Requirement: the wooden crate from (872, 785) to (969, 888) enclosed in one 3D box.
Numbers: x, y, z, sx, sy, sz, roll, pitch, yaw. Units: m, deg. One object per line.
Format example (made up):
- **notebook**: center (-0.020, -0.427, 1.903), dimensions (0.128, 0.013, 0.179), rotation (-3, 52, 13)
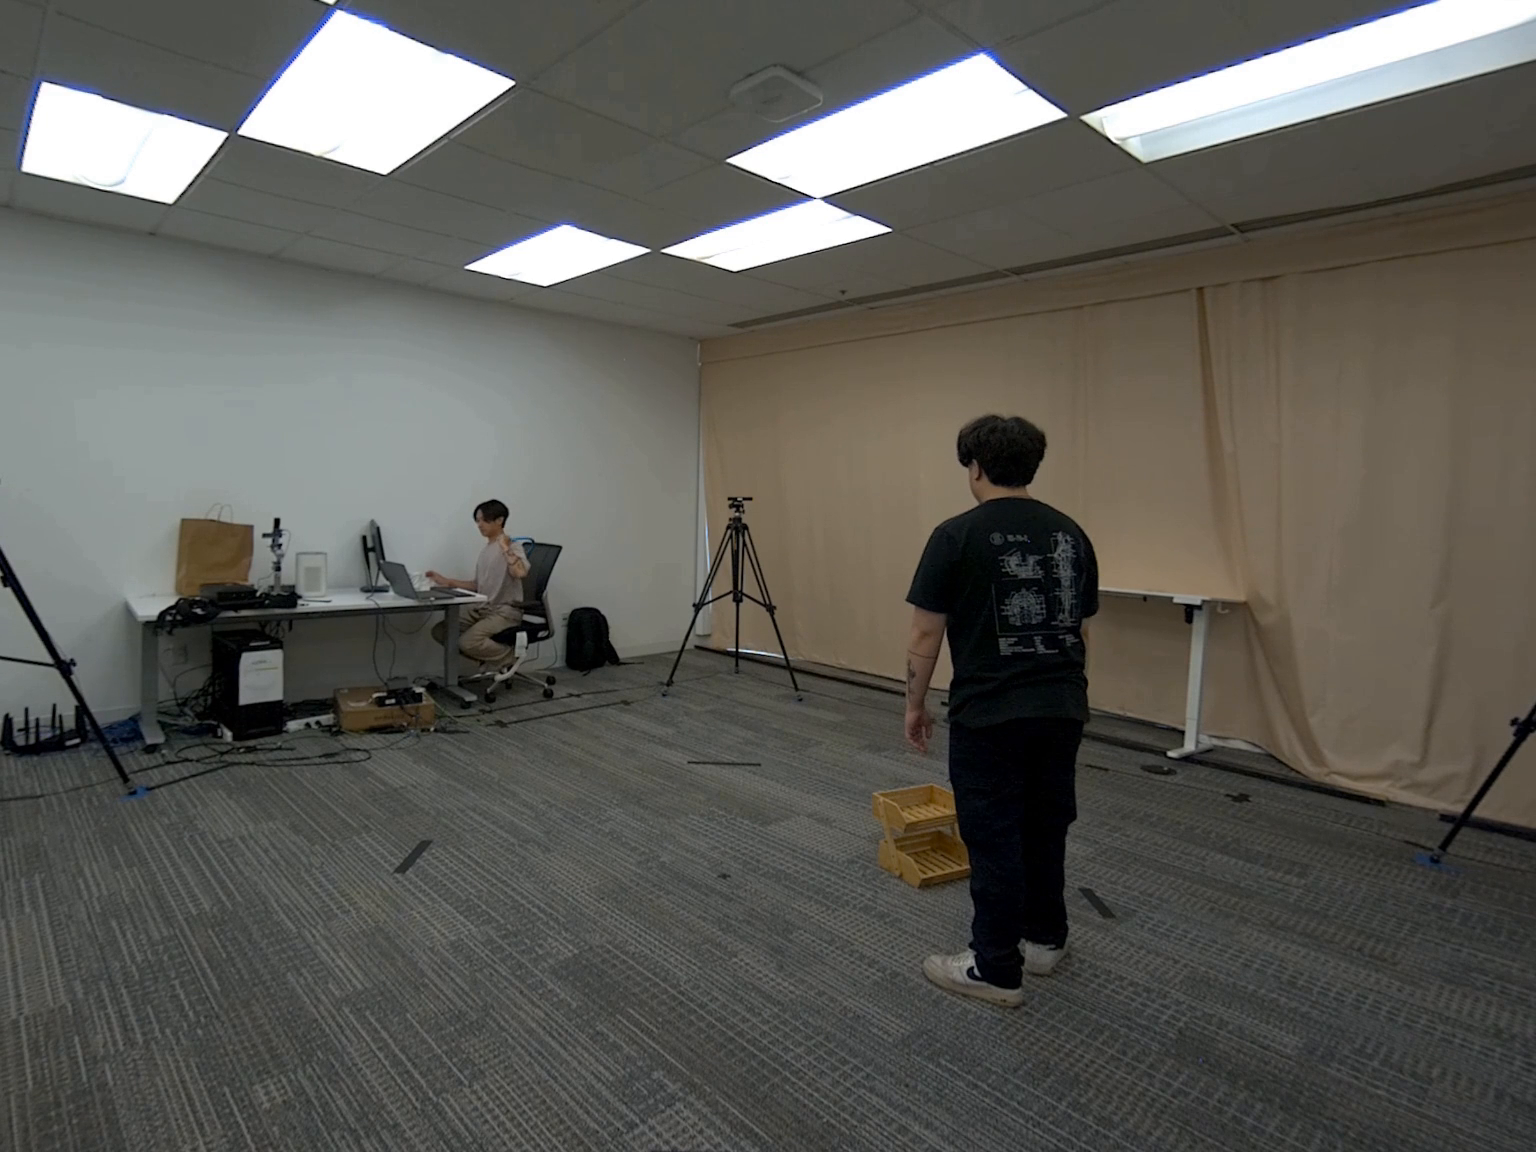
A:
- **wooden crate**: center (0.601, 0.986, 3.219), dimensions (0.318, 0.273, 0.309), rotation (-1, 4, -30)
